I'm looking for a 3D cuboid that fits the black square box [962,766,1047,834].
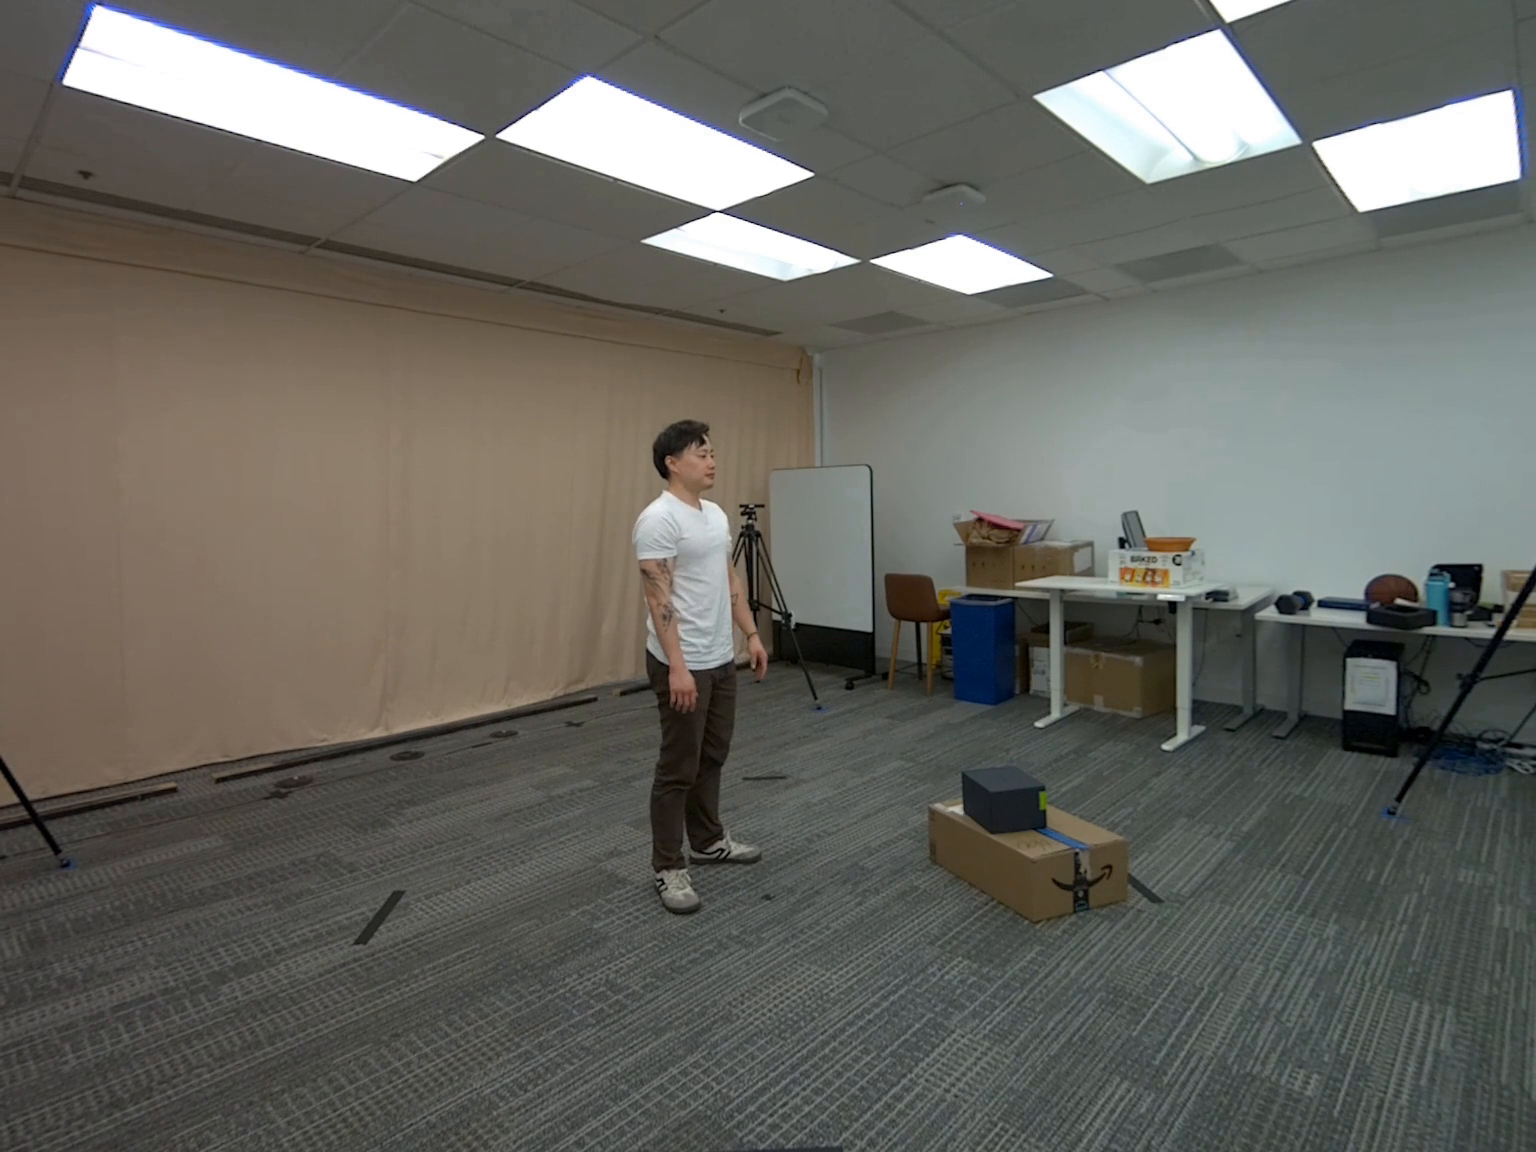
[{"bbox_3d":[0.858,0.808,3.081,0.214,0.155,0.231,-3,5,-12],"label":"black square box"}]
